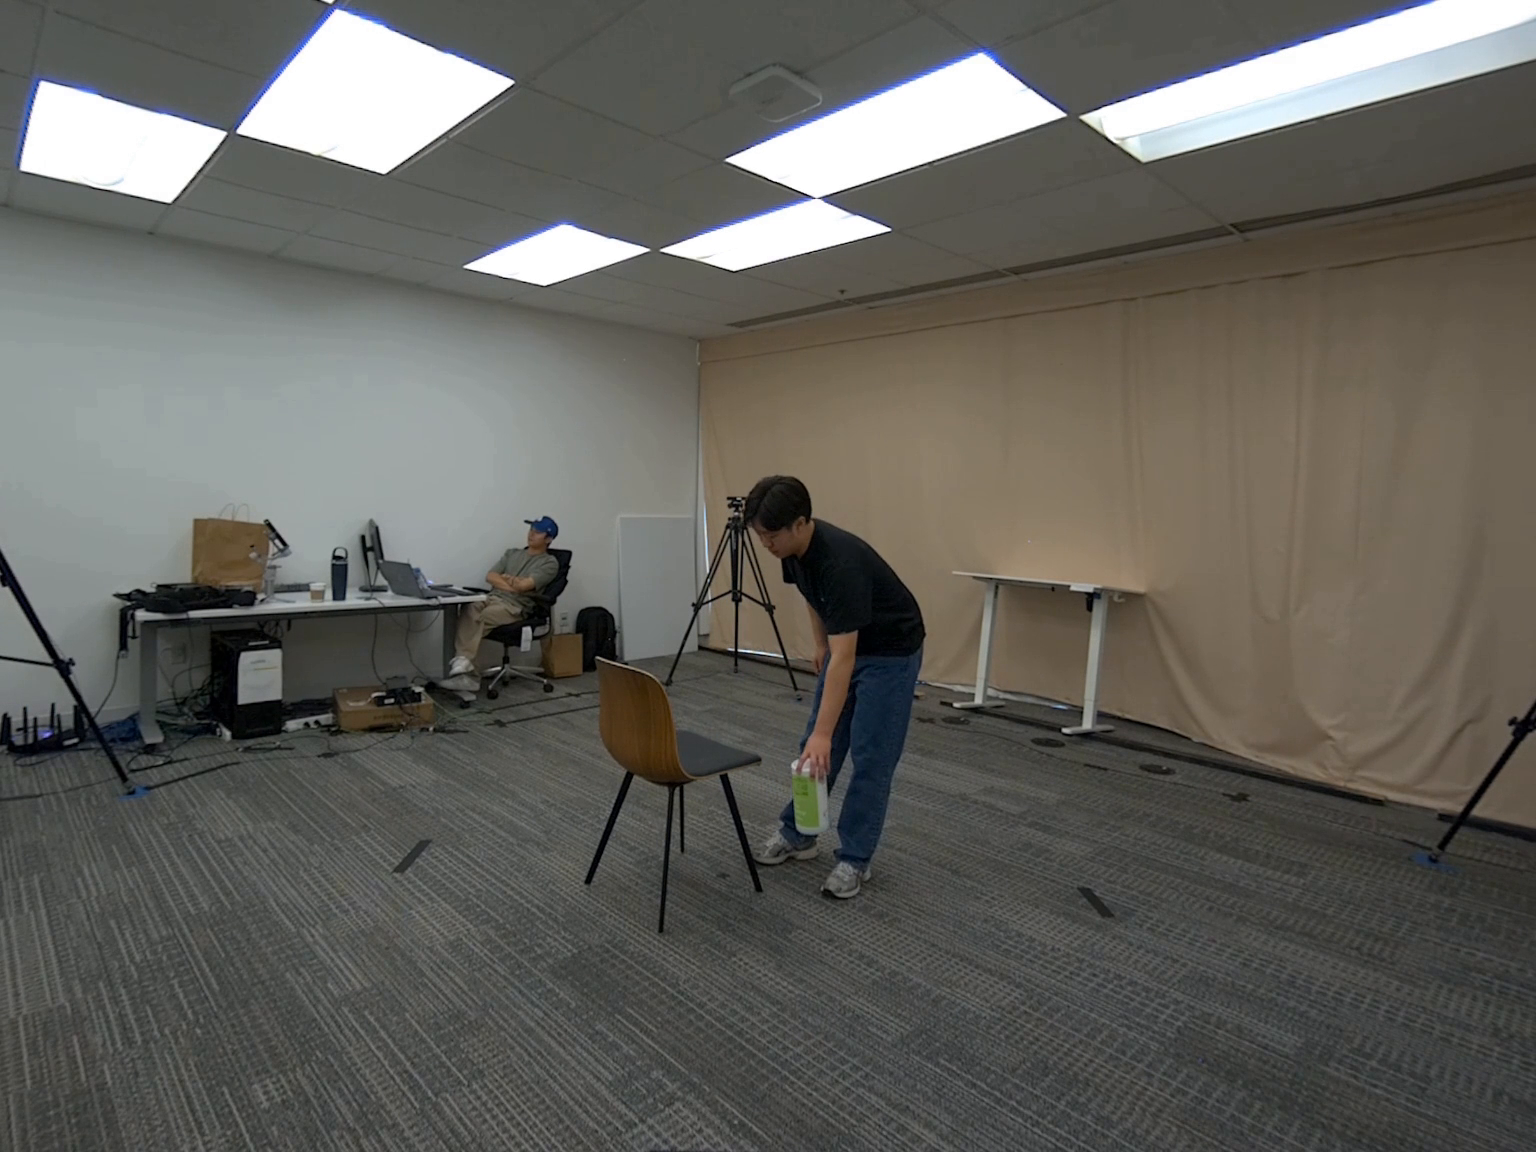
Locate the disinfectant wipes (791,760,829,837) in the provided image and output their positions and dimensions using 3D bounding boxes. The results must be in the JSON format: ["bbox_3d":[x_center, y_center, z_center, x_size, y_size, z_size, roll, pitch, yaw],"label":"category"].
[{"bbox_3d":[0.124,0.697,2.684,0.118,0.216,0.118,-2,6,-1],"label":"disinfectant wipes"}]
